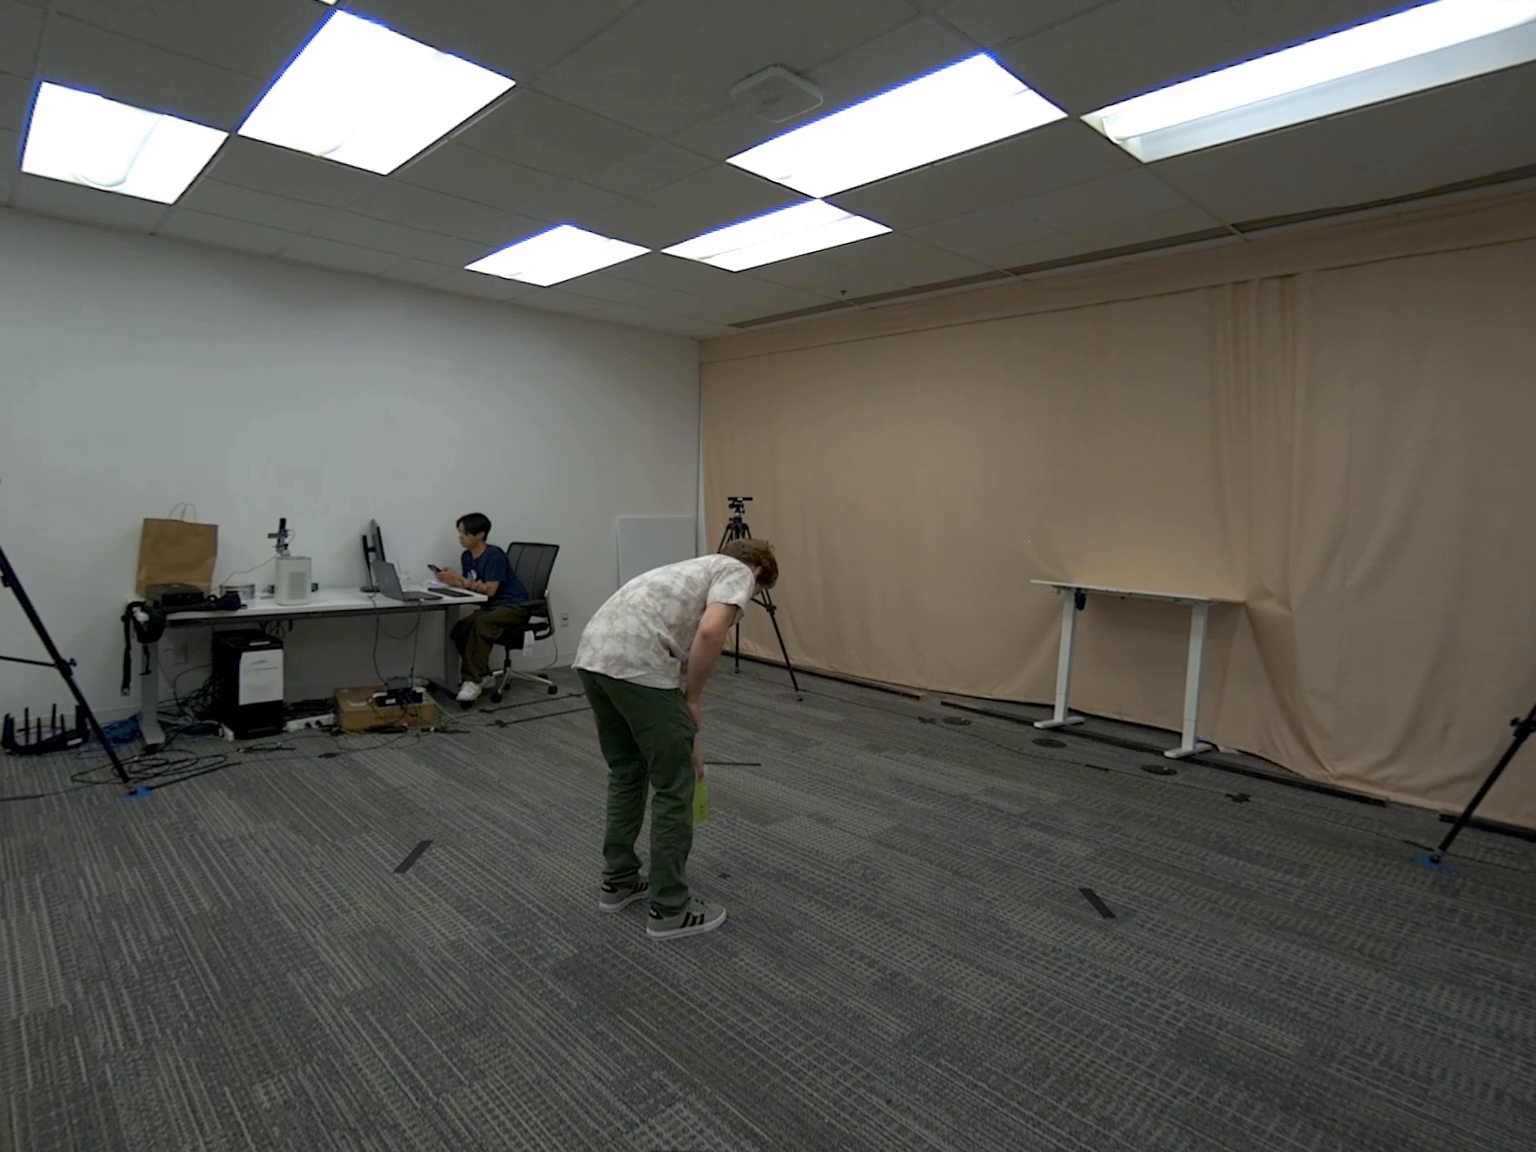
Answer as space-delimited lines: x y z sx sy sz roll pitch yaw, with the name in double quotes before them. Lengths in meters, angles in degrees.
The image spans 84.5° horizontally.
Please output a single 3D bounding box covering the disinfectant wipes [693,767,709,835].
"disinfectant wipes" -0.286 0.834 3.155 0.118 0.218 0.117 1 -2 -1
